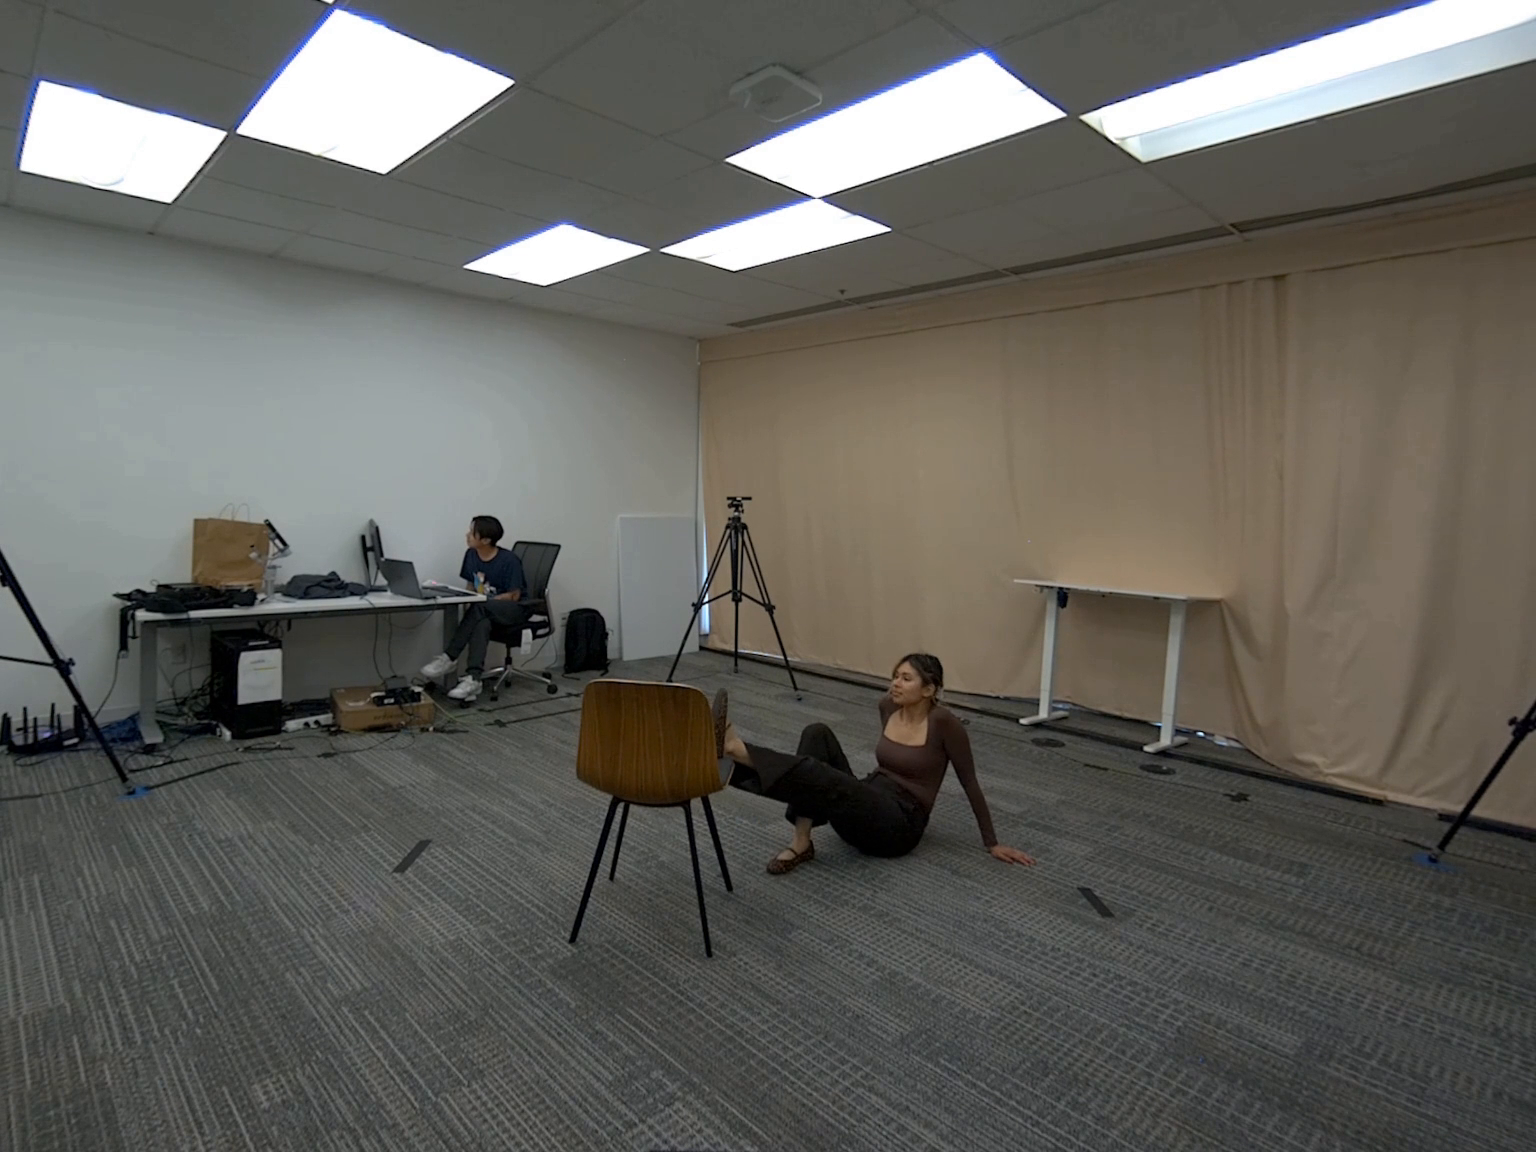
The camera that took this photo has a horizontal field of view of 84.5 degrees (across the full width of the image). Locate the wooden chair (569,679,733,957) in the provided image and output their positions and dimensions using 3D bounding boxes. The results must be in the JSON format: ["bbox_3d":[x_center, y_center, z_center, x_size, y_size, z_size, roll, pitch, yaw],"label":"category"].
[{"bbox_3d":[-0.367,0.704,2.773,0.481,0.873,0.522,2,7,7],"label":"wooden chair"}]
